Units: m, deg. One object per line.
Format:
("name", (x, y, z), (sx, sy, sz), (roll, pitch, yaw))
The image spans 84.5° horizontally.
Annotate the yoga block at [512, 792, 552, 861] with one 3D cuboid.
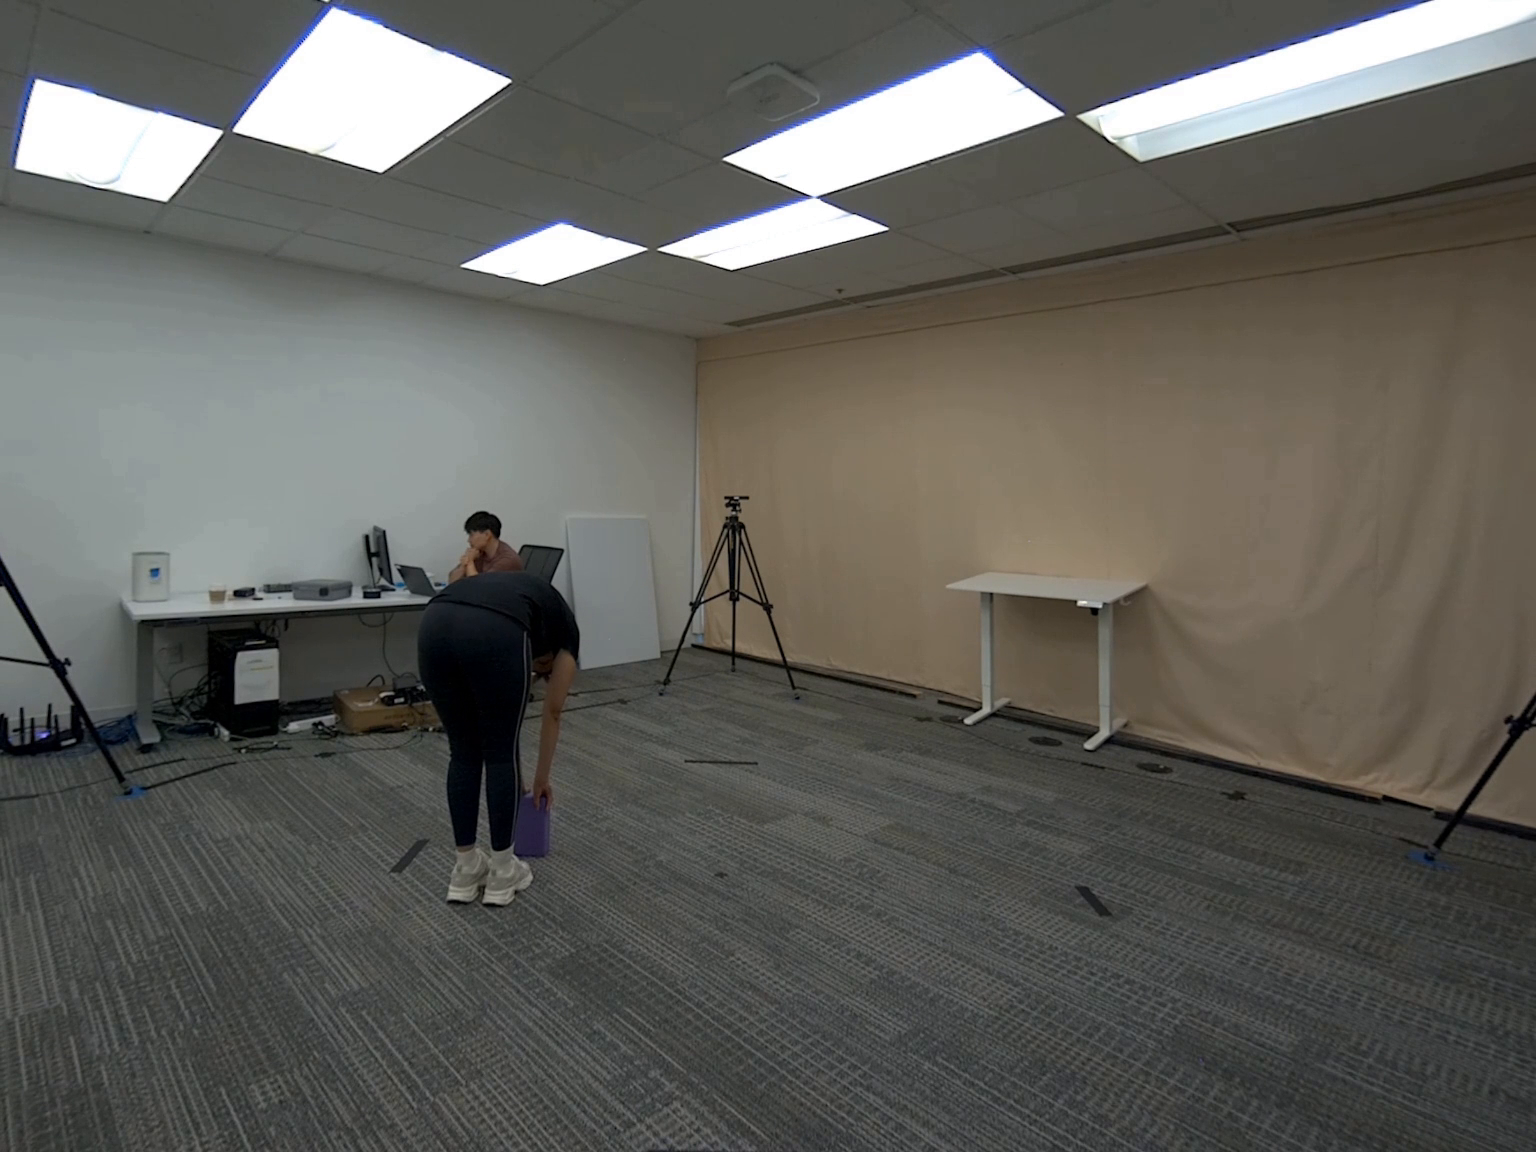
("yoga block", (-0.930, 0.965, 3.253), (0.149, 0.228, 0.076), (4, 4, 5))
